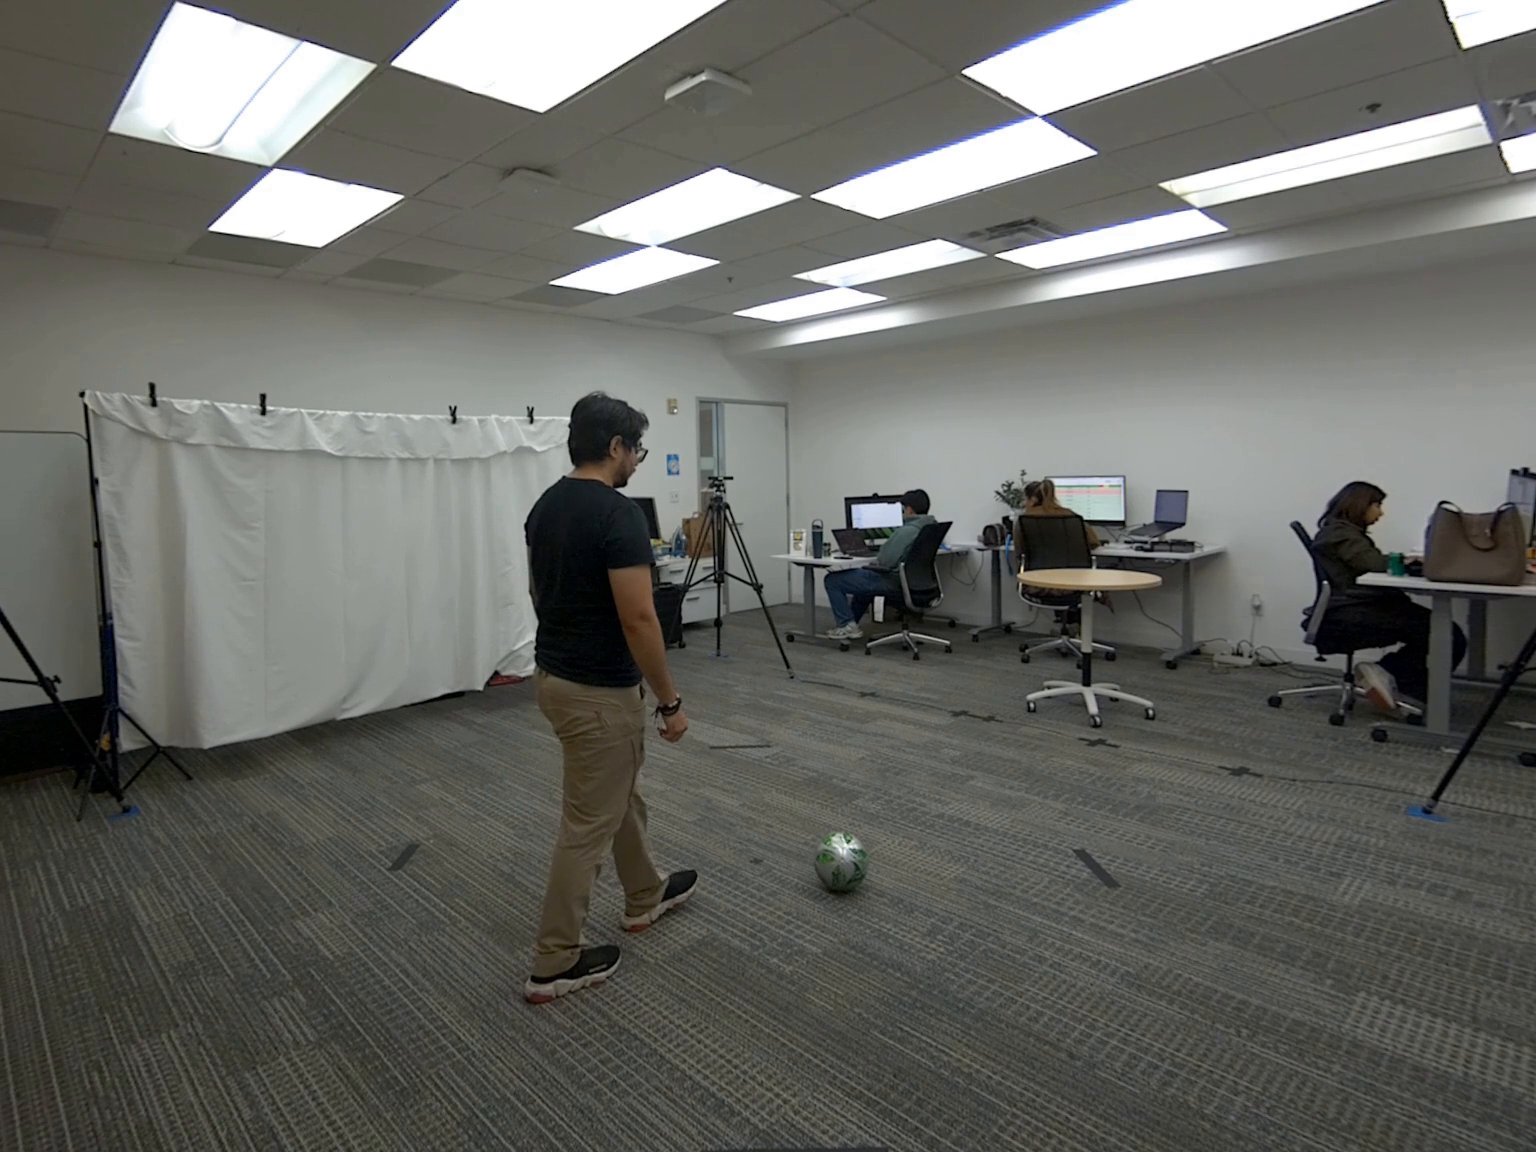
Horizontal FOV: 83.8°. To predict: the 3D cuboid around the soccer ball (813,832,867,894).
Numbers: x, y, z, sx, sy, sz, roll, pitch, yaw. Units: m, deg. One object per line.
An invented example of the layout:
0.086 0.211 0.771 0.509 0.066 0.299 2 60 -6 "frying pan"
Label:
0.249 0.960 2.887 0.187 0.187 0.188 -1 5 -2 "soccer ball"
